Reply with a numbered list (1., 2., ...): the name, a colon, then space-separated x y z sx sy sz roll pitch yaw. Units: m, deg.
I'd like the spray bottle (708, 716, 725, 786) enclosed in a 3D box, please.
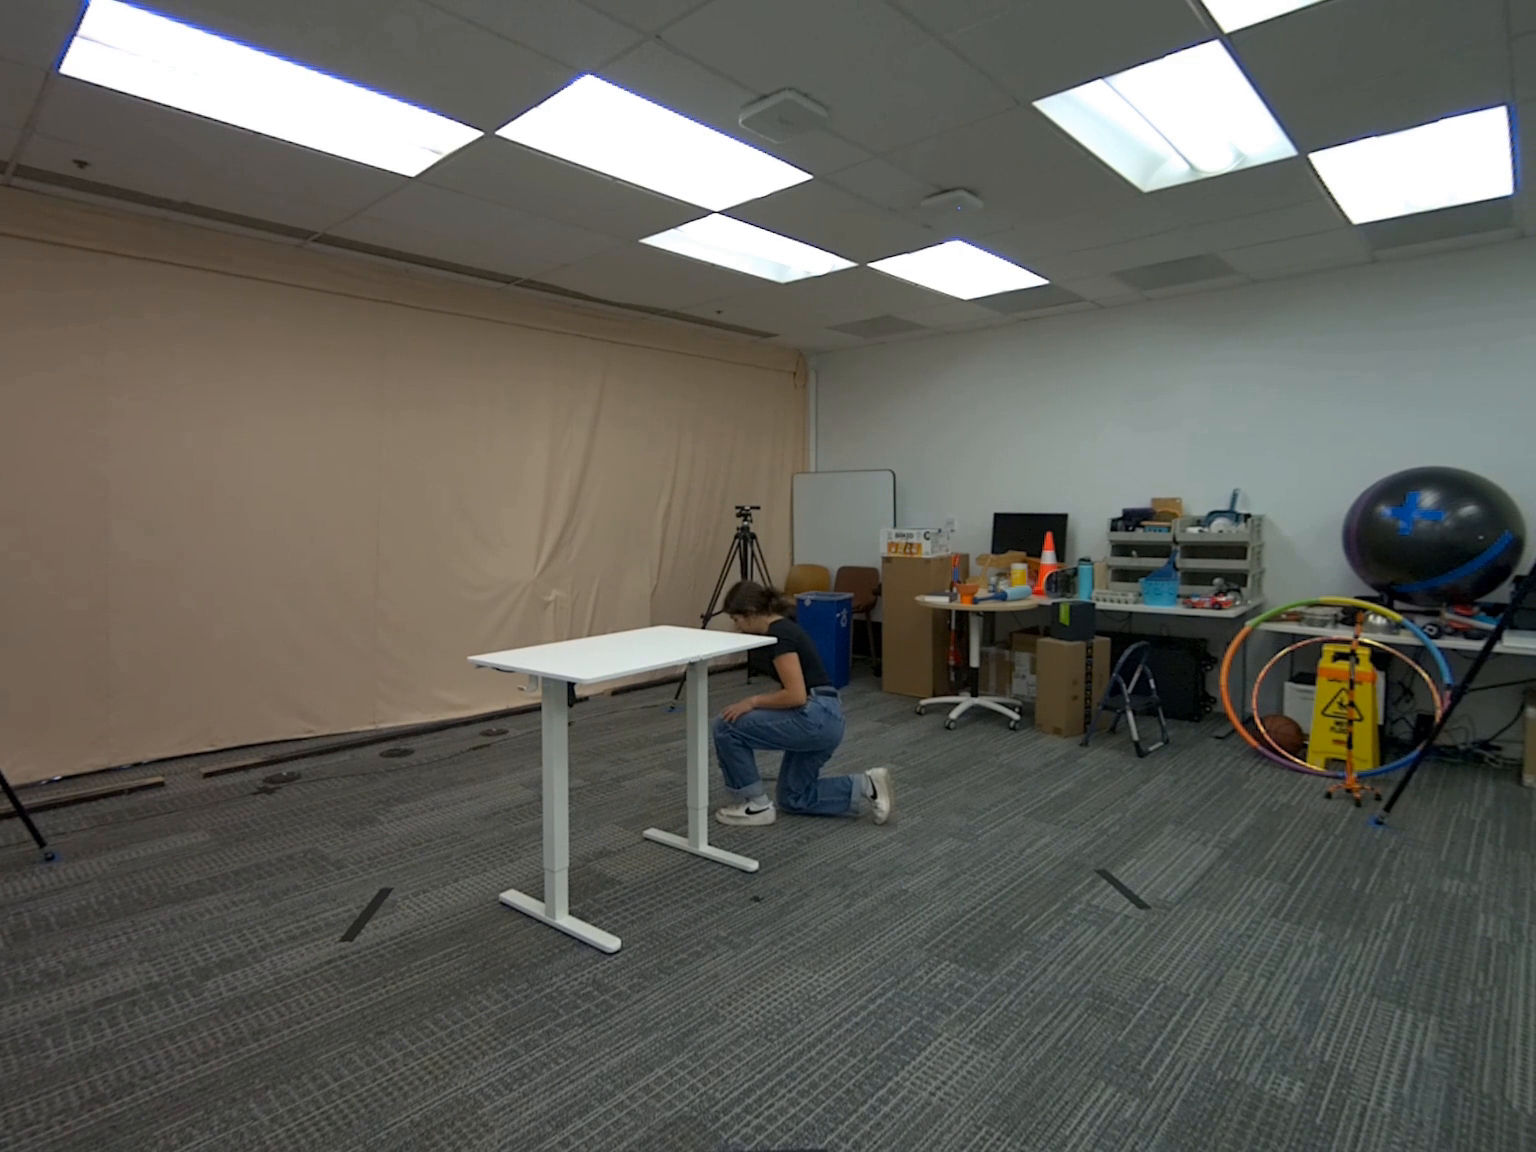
1. spray bottle: -0.199 0.804 3.908 0.093 0.297 0.085 -4 4 36
